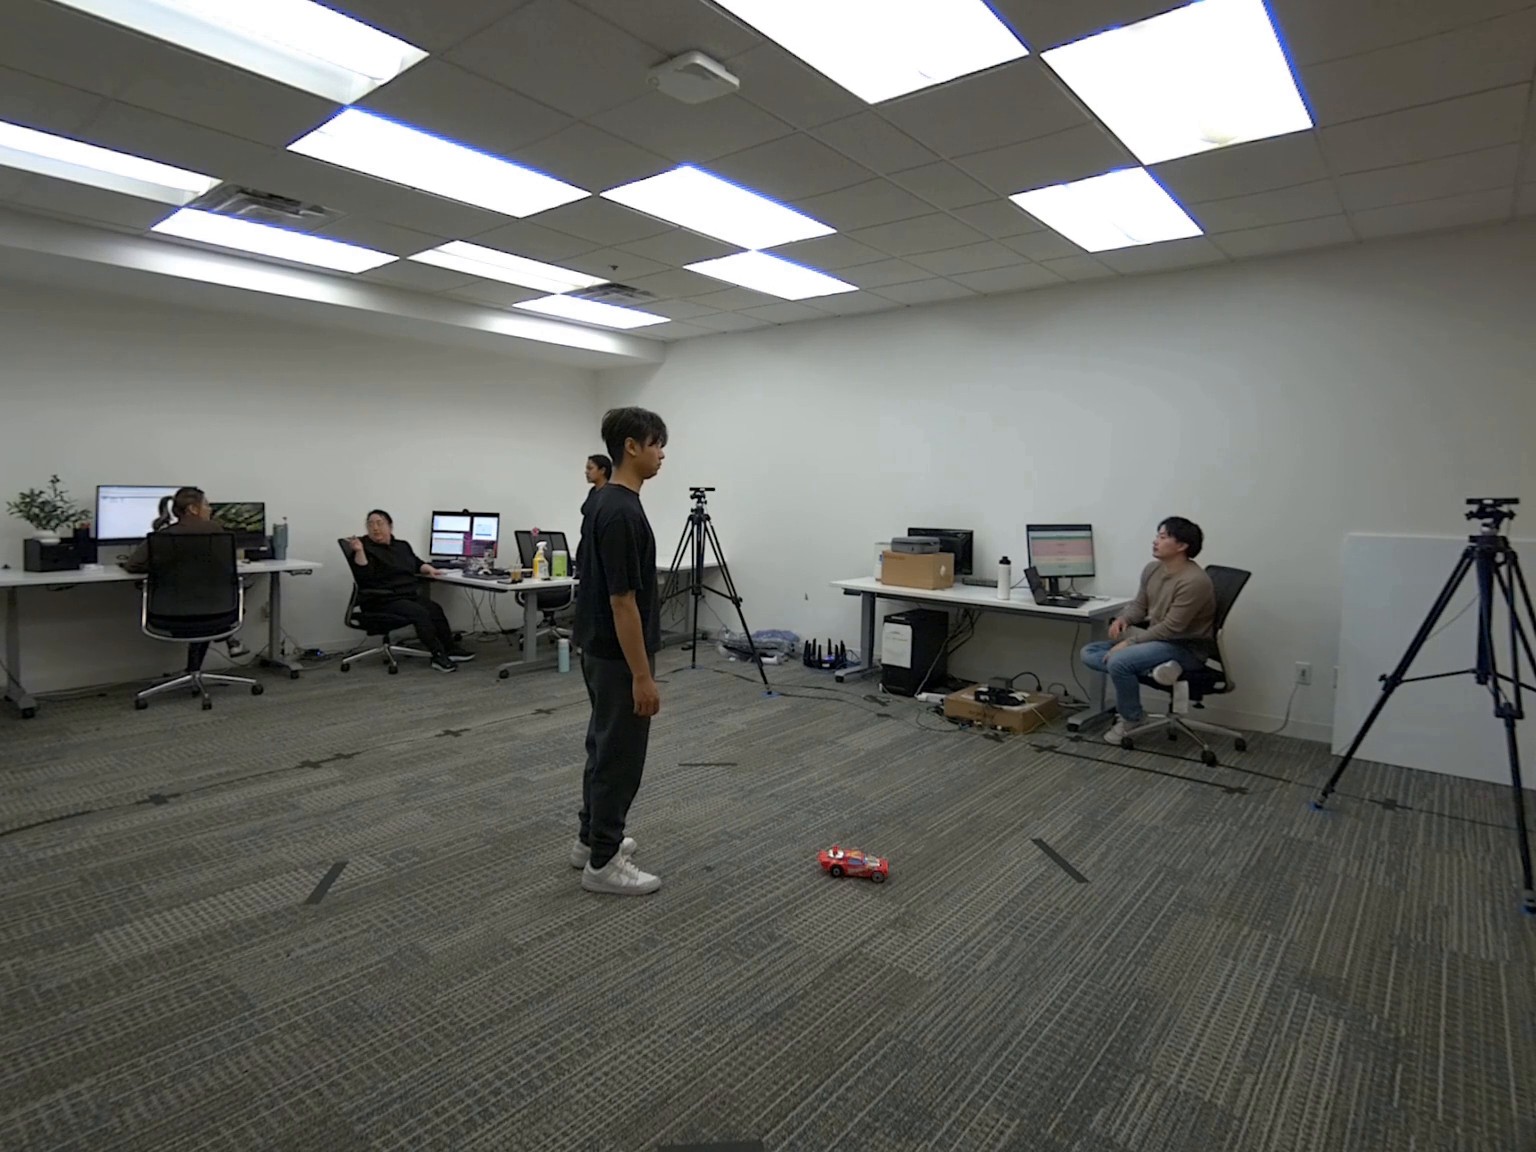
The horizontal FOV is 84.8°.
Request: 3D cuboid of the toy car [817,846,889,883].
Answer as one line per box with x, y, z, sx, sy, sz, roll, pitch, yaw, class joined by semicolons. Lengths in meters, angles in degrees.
0.312;1.053;3.102;0.258;0.083;0.129;12;5;10;toy car
